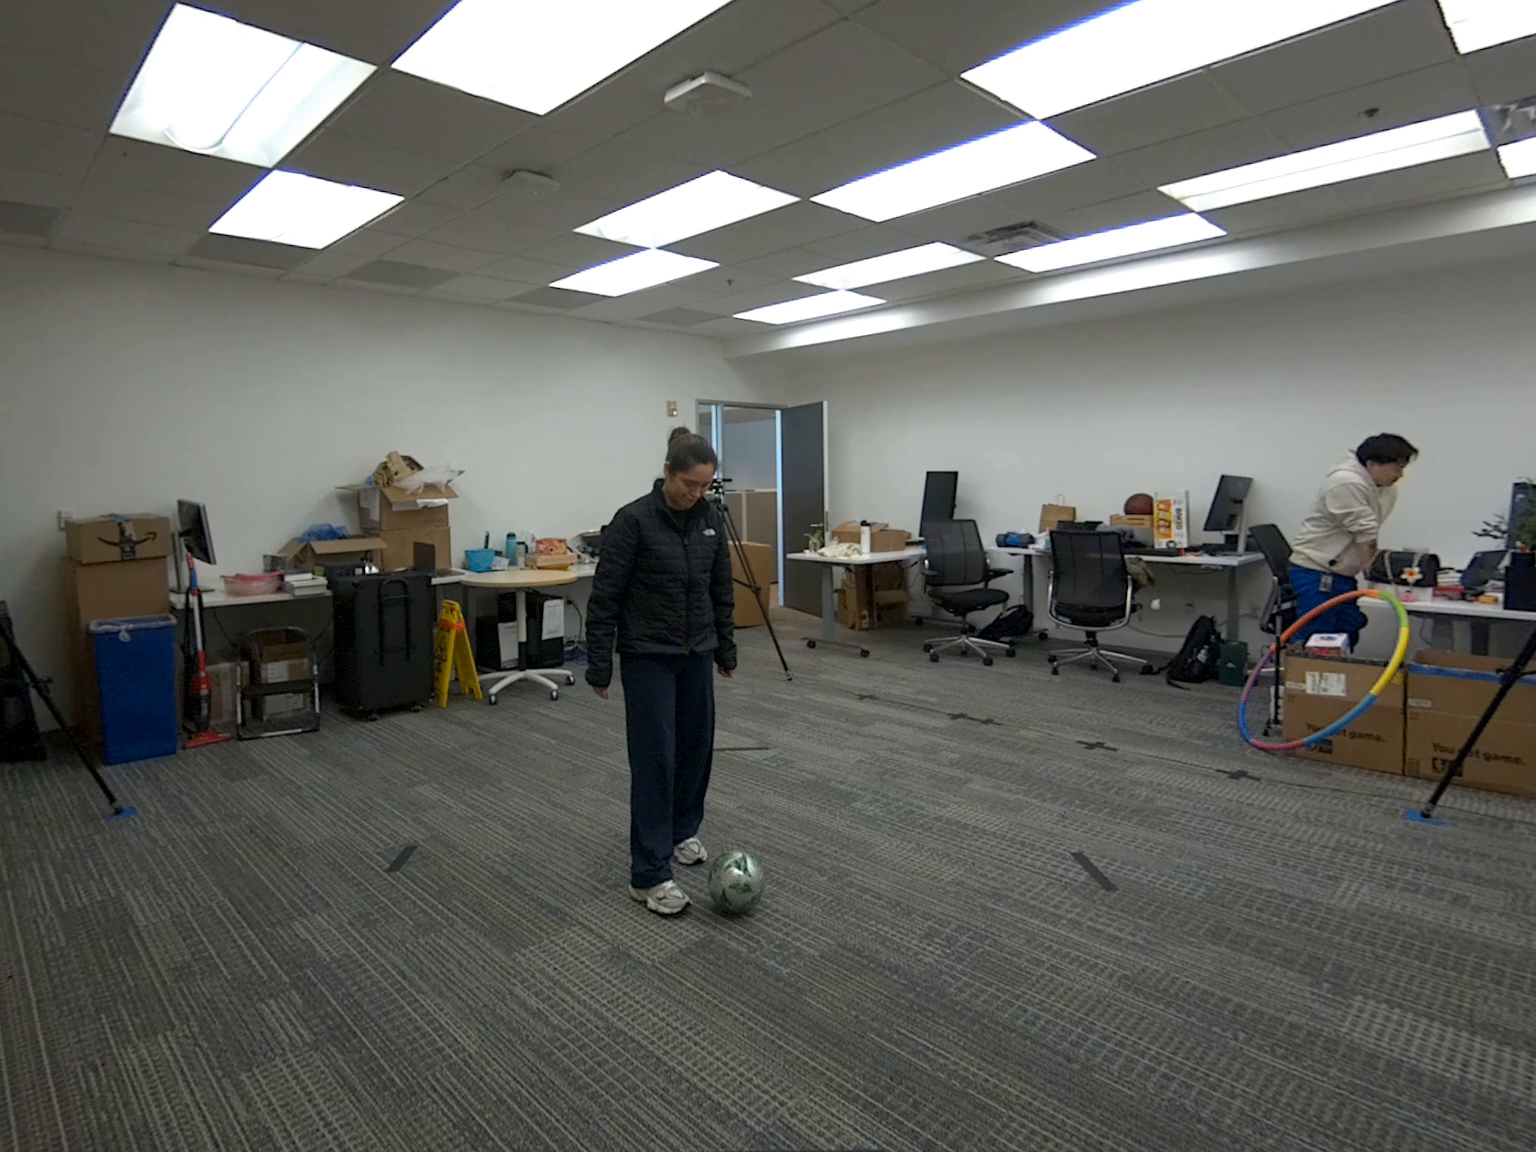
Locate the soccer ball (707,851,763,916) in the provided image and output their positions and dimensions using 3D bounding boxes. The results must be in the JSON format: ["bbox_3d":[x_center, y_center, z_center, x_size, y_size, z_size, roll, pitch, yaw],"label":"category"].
[{"bbox_3d":[-0.098,0.986,2.764,0.187,0.187,0.188,-1,5,-2],"label":"soccer ball"}]
